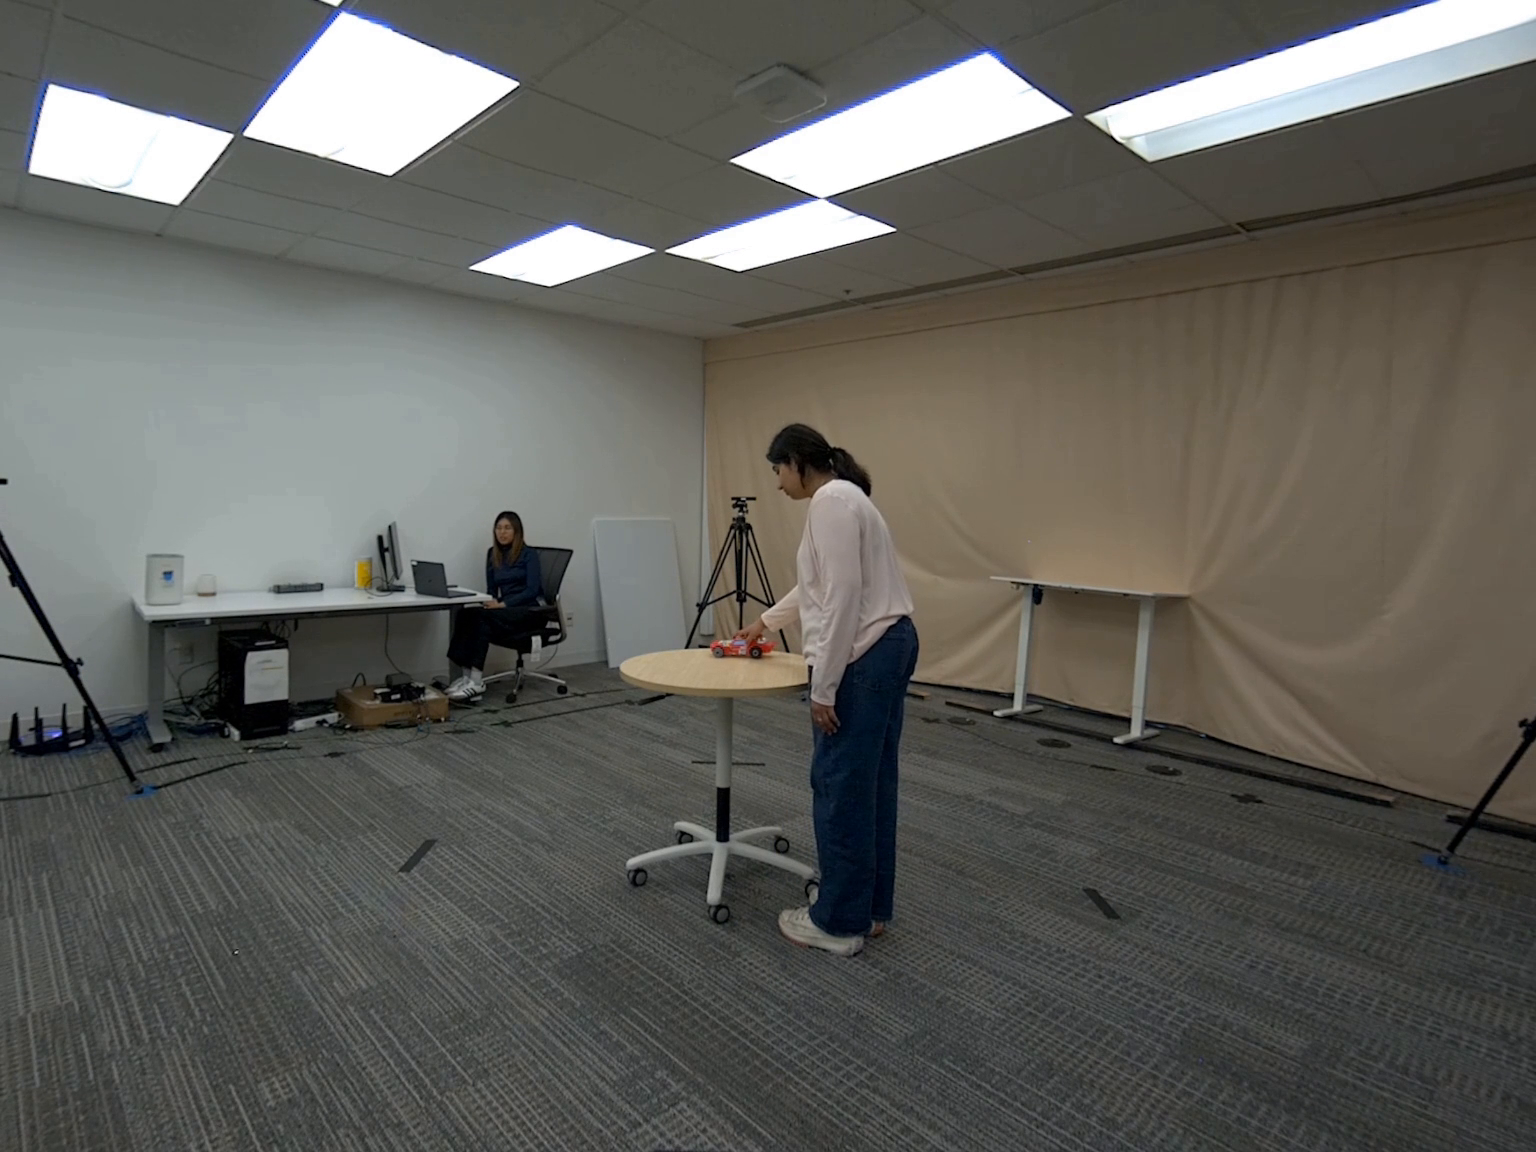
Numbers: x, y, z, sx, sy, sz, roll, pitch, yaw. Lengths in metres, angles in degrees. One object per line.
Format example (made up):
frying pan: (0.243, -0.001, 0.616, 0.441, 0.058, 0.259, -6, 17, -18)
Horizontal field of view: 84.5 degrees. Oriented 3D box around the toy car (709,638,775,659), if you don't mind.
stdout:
toy car: (-0.100, 0.279, 3.256, 0.255, 0.083, 0.130, -11, 3, 5)
